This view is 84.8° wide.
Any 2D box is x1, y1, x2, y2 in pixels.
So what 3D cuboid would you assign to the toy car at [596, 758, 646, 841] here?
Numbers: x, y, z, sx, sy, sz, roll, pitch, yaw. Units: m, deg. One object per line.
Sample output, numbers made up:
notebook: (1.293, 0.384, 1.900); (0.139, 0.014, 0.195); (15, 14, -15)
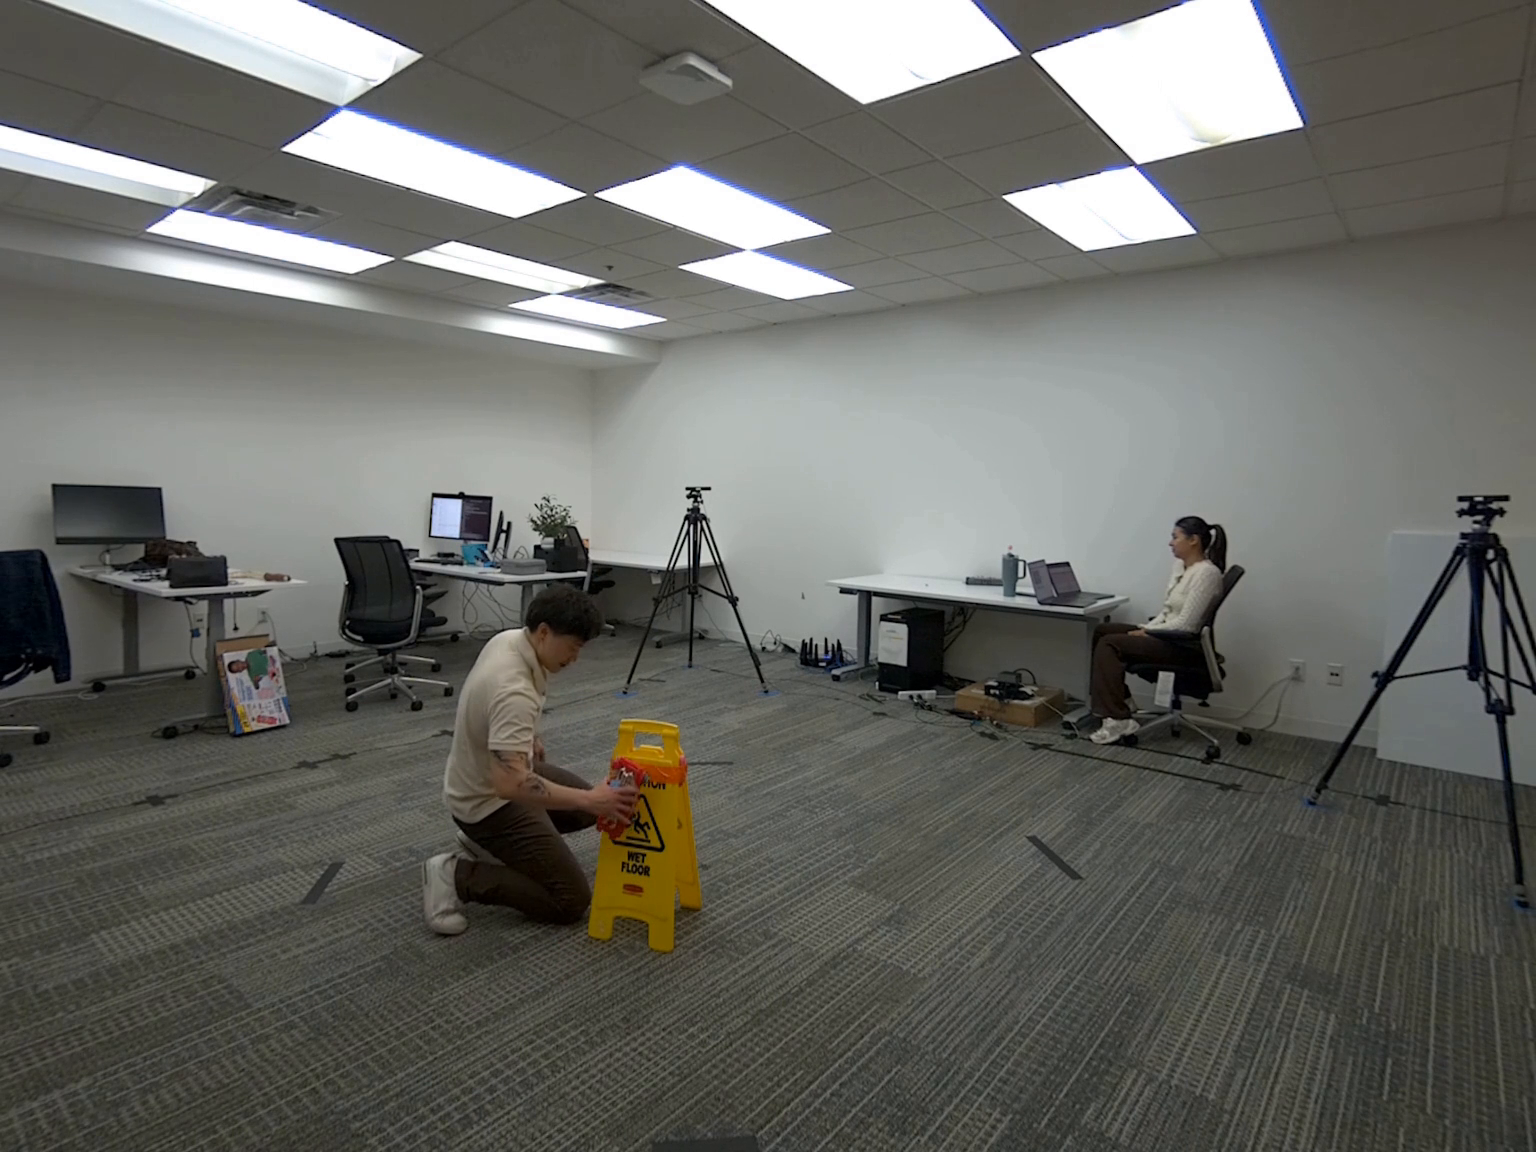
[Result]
toy car: (-0.463, 0.702, 2.609); (0.131, 0.255, 0.082); (20, -5, 7)
